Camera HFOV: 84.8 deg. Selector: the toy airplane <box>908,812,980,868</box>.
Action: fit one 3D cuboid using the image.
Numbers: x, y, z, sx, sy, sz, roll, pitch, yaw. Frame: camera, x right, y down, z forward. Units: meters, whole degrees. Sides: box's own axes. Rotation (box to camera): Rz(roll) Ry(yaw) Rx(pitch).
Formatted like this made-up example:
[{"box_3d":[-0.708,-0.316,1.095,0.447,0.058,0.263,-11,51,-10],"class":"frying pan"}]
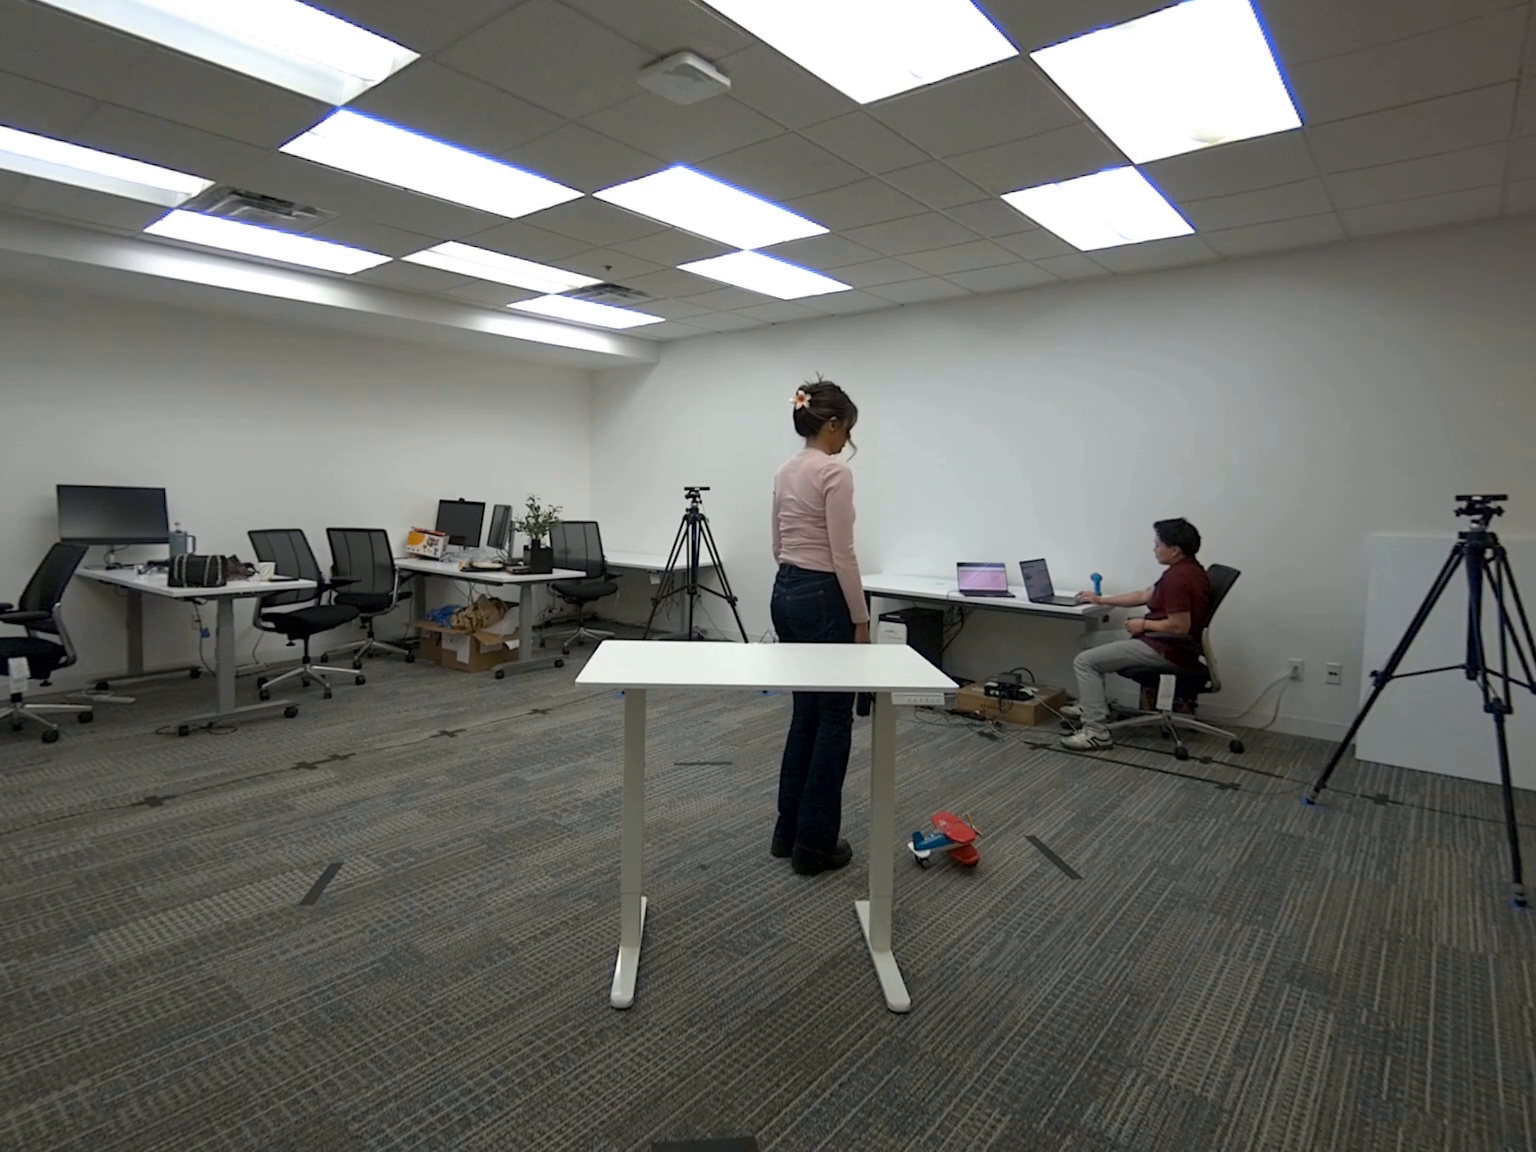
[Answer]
[{"box_3d":[0.663,1.007,3.176,0.251,0.156,0.260,-3,8,-41],"class":"toy airplane"}]
